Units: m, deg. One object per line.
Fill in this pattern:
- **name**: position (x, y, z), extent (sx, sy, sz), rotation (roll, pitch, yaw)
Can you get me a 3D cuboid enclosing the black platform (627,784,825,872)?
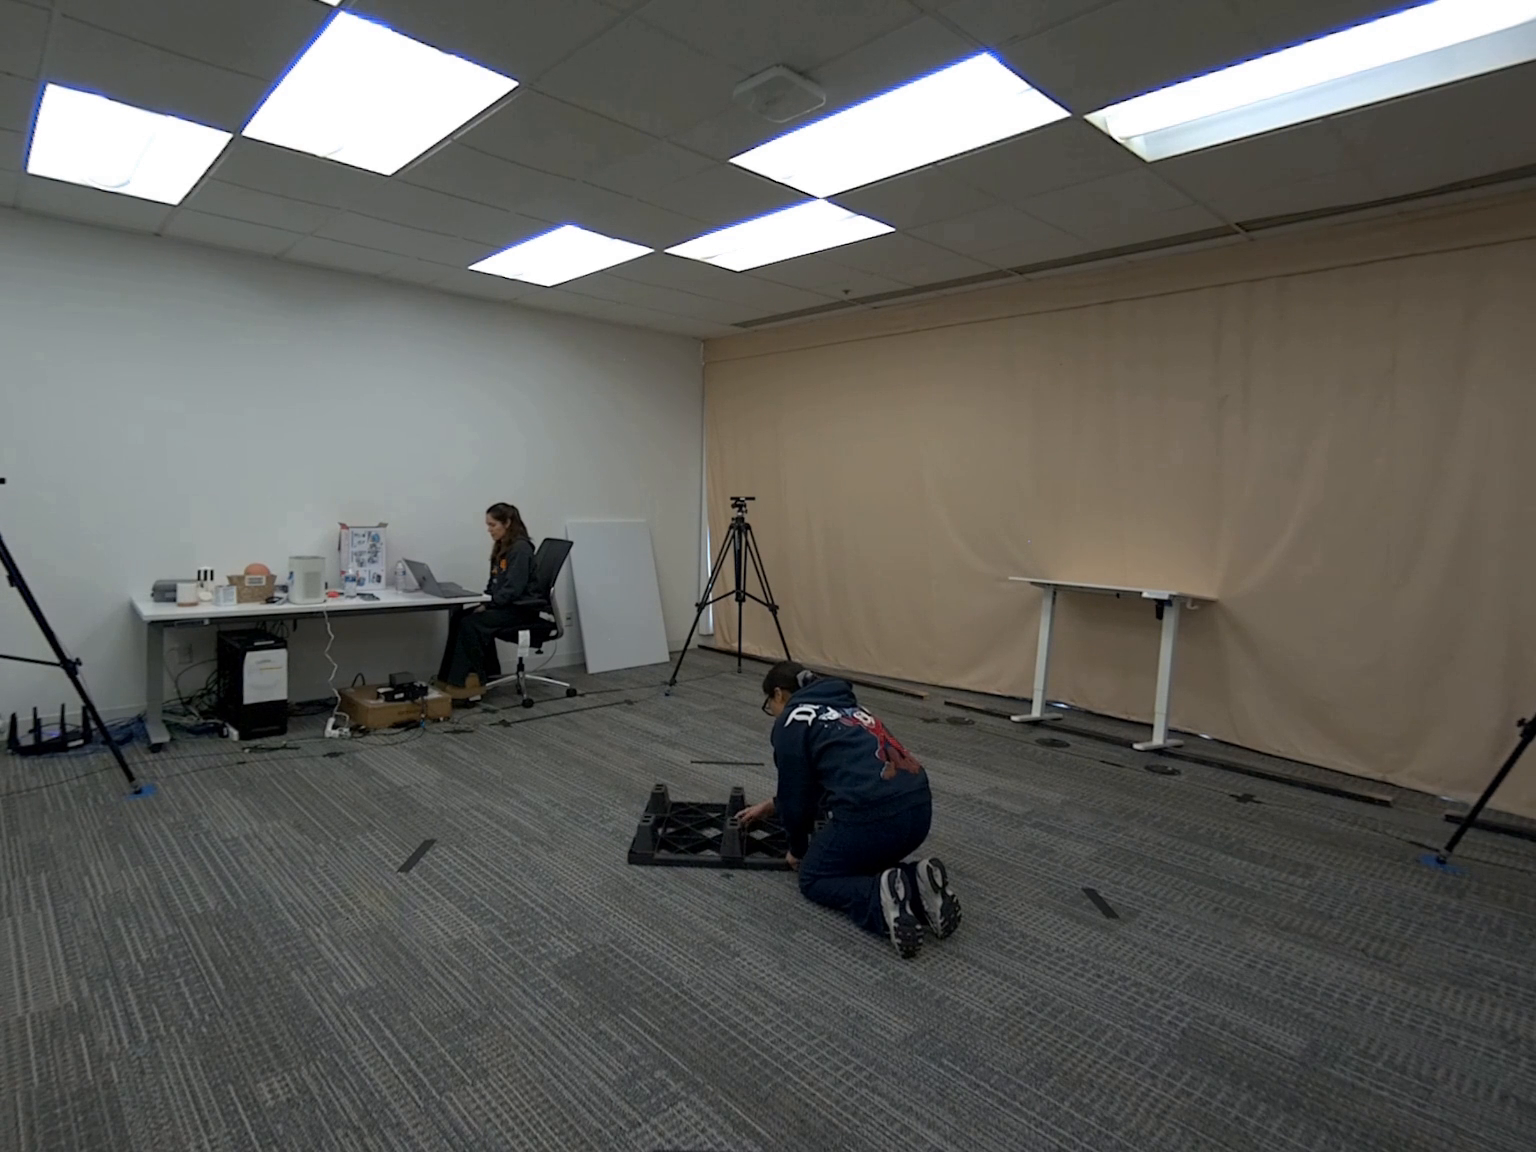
- **black platform**: position (-0.143, 1.009, 3.456), extent (0.807, 0.143, 0.606), rotation (1, 6, 1)
